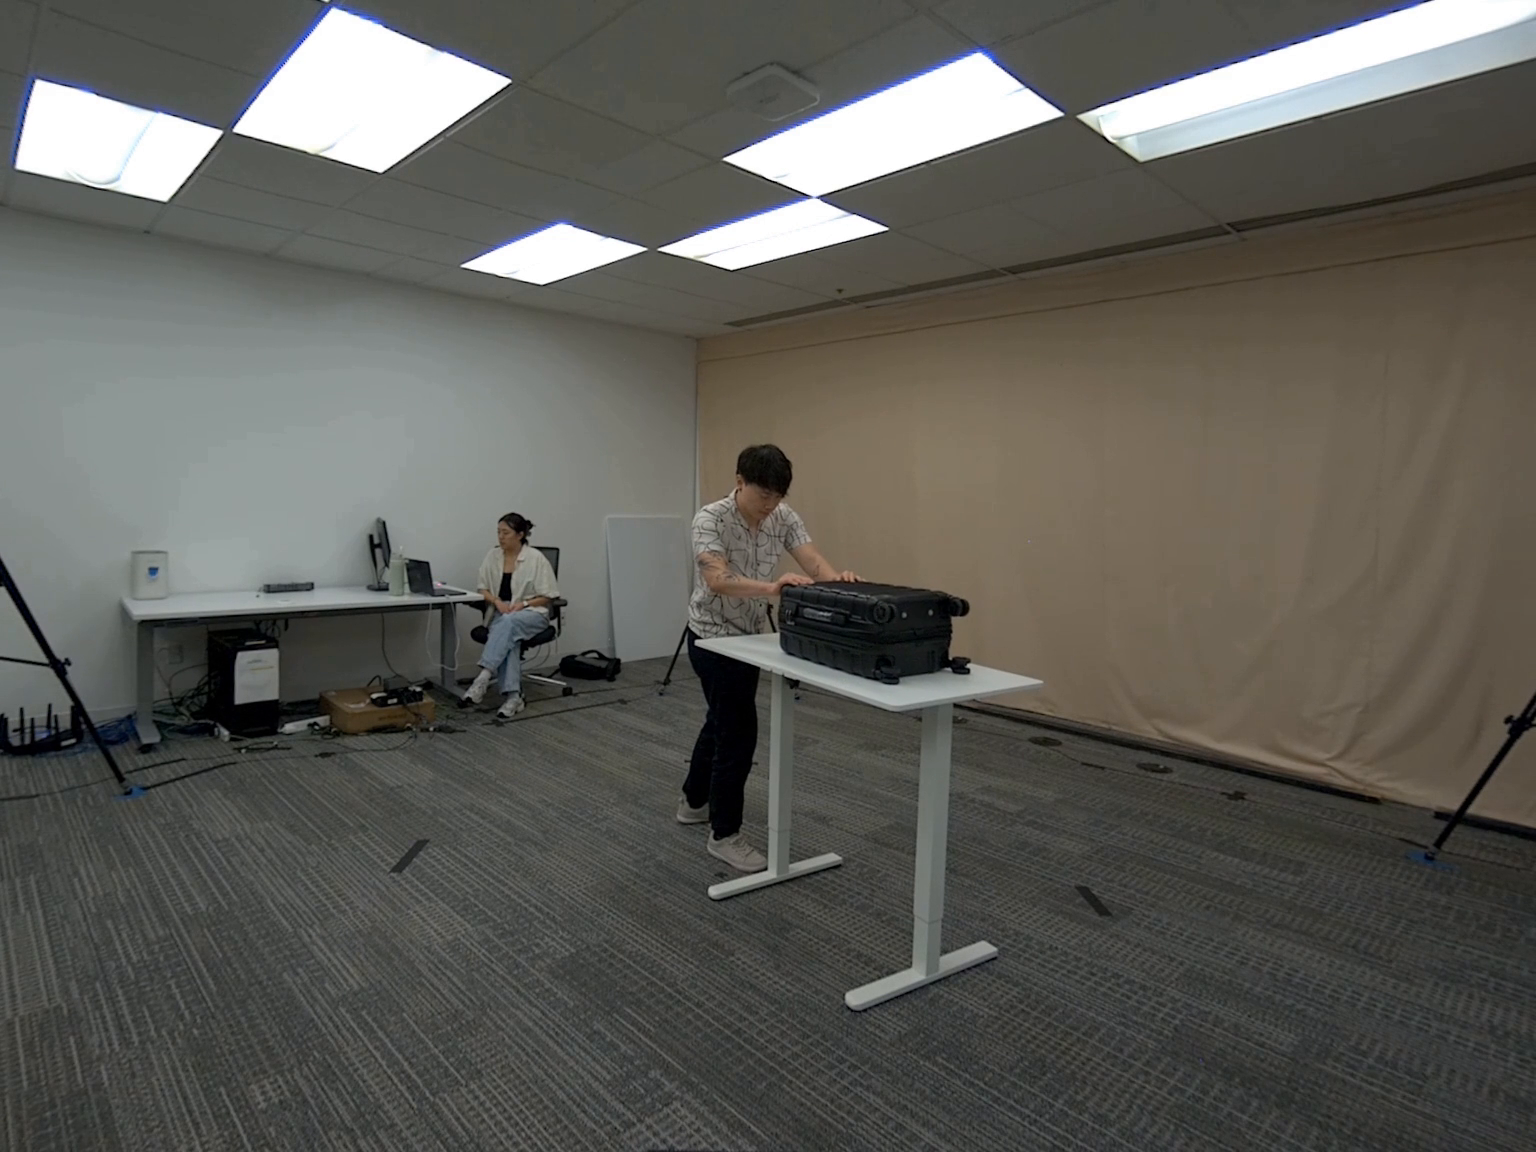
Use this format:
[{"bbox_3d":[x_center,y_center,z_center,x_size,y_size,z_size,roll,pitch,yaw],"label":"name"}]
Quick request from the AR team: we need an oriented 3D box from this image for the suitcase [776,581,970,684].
[{"bbox_3d":[0.288,0.160,2.648,0.367,0.247,0.563,-3,7,-35],"label":"suitcase"}]
